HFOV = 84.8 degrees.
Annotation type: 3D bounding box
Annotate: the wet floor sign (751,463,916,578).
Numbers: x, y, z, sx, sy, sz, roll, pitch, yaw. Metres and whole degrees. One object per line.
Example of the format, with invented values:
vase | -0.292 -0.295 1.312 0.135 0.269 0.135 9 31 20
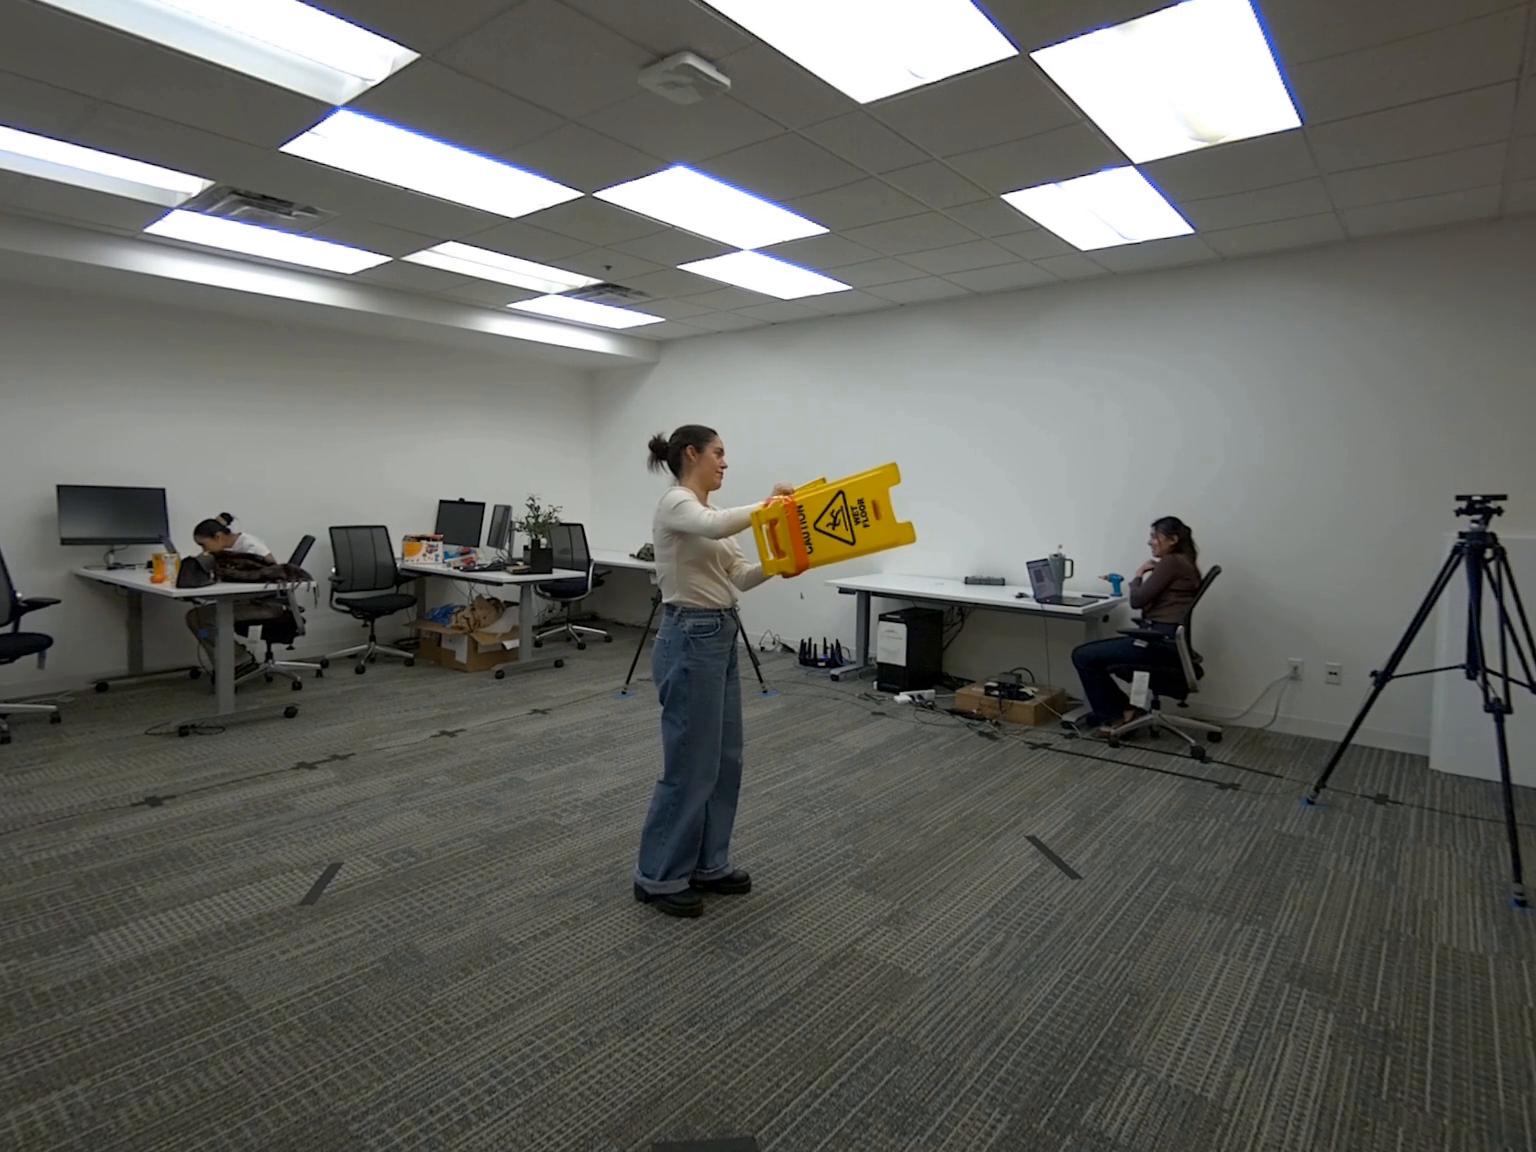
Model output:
wet floor sign | 0.149 -0.162 2.704 0.297 0.281 0.632 -11 6 41
